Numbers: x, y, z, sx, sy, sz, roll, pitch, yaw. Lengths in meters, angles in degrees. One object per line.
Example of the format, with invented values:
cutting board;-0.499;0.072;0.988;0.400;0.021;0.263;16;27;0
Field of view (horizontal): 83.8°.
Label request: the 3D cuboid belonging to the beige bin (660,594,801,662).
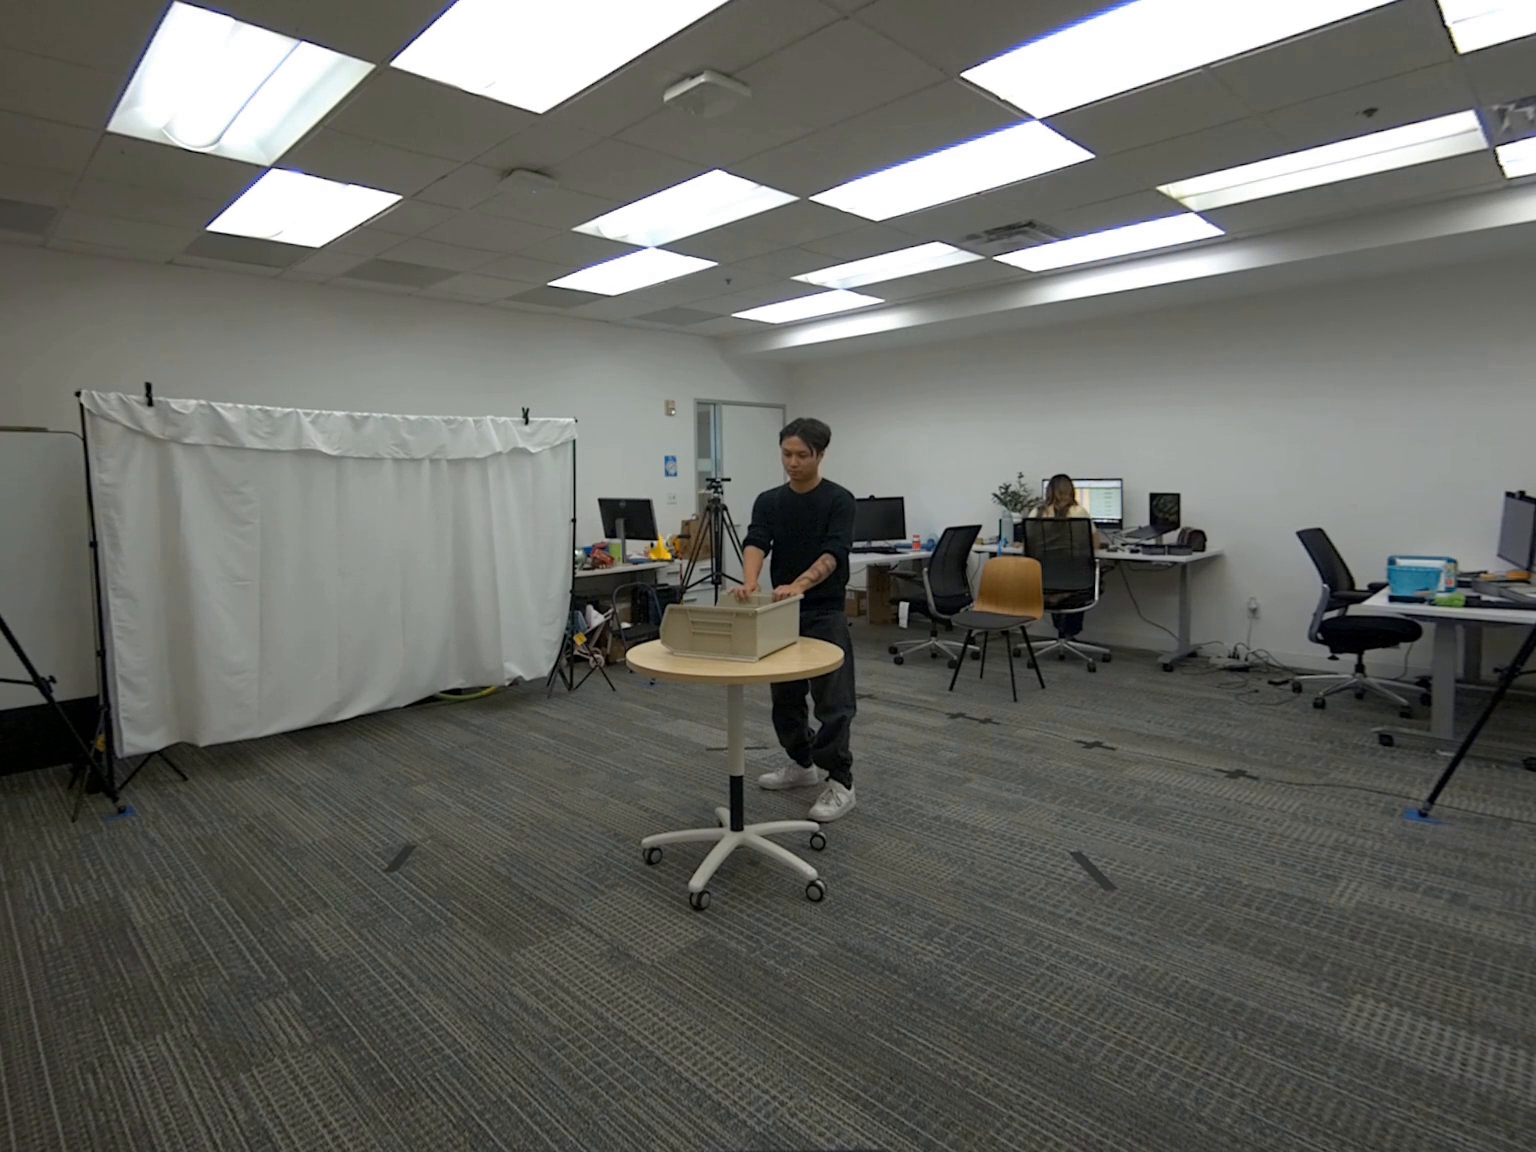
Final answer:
beige bin;-0.126;0.172;3.083;0.386;0.188;0.414;4;7;24
